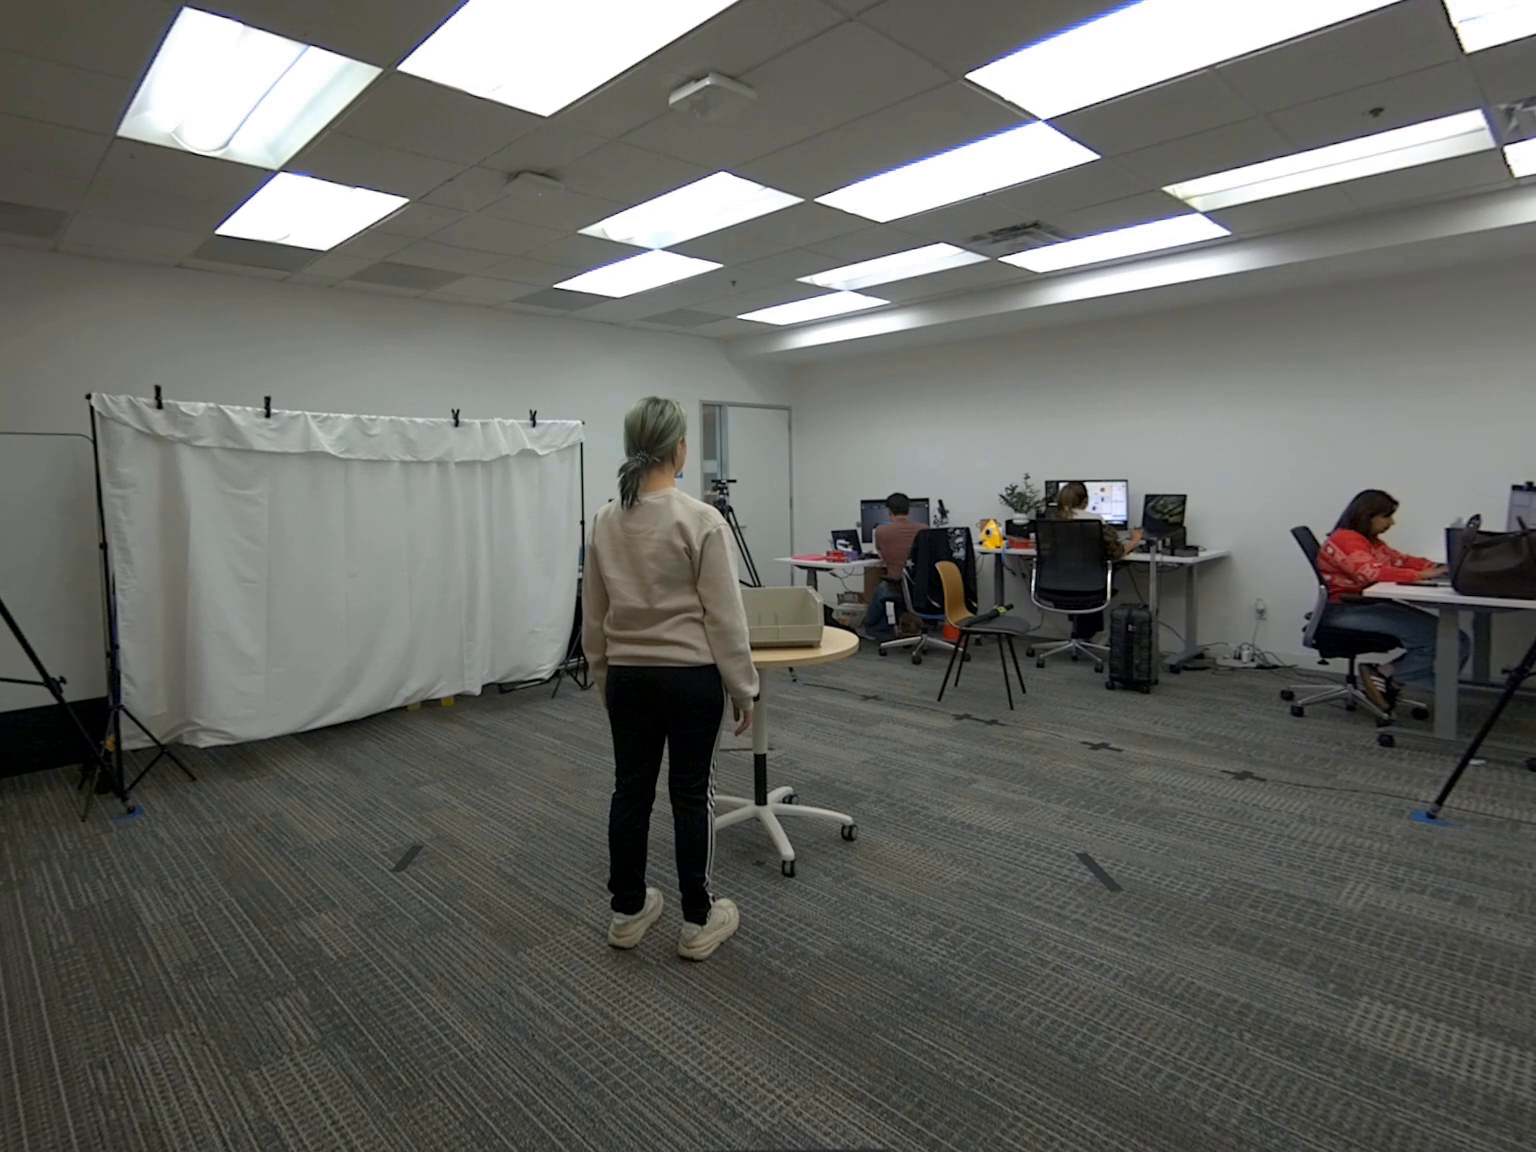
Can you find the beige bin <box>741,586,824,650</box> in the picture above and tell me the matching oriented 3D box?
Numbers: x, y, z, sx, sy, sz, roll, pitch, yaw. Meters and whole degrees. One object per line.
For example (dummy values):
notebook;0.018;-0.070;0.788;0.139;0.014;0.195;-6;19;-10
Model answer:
beige bin;-0.024;0.177;3.214;0.422;0.187;0.381;-2;10;-2
